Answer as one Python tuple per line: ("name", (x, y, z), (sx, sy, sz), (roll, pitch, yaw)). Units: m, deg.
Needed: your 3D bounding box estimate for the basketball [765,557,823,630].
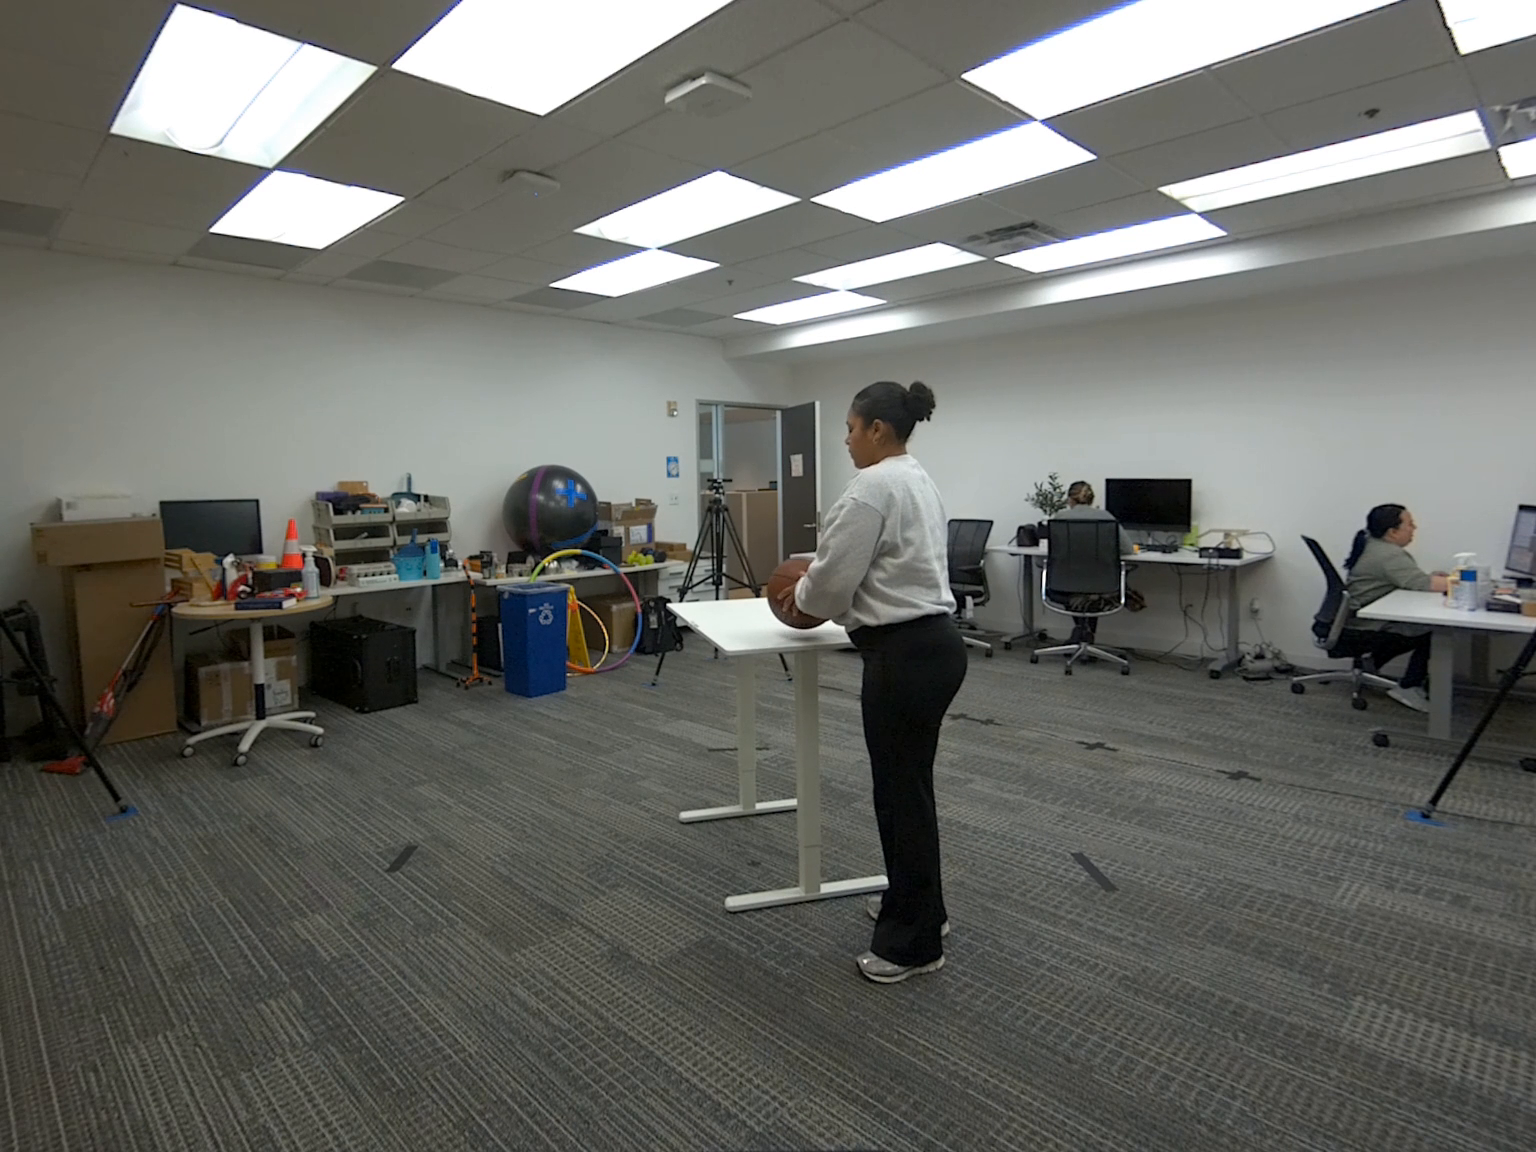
("basketball", (0.109, 0.050, 2.791), (0.236, 0.235, 0.237), (-1, 5, -2))
